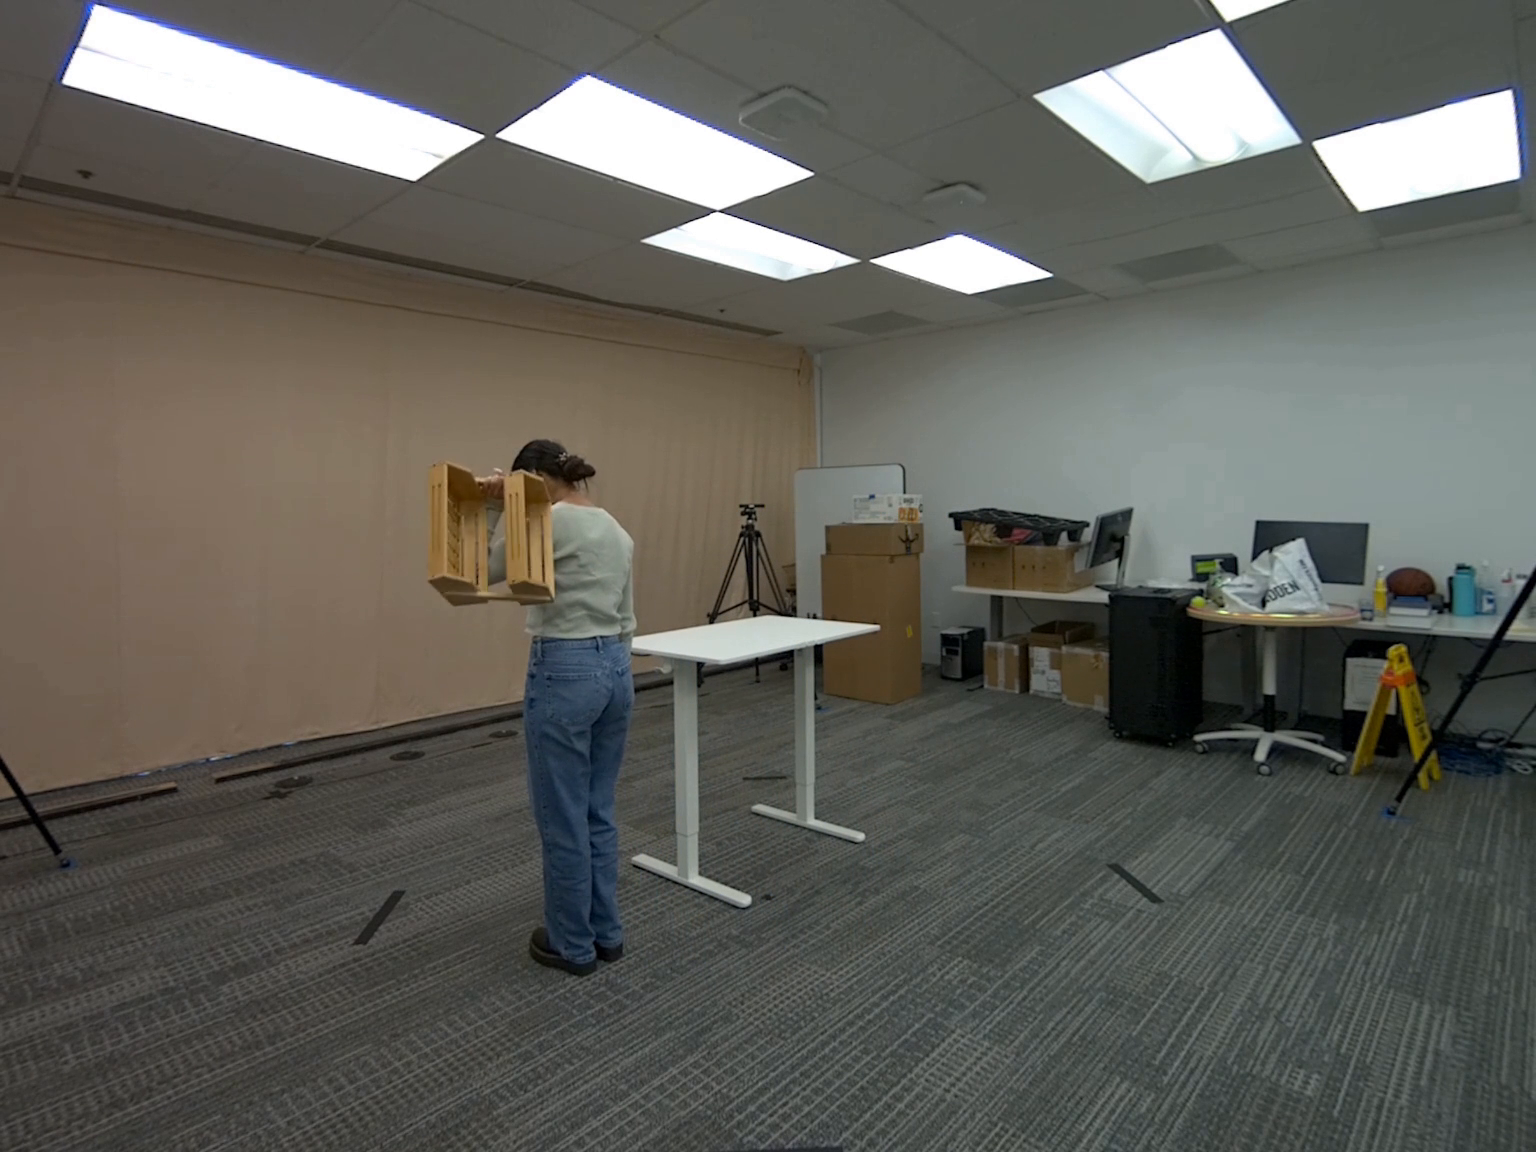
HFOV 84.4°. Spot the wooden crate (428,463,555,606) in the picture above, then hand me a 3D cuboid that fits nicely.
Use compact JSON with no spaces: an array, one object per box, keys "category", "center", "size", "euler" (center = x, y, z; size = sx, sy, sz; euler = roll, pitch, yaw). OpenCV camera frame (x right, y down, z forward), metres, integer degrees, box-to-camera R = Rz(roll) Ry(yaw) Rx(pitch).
[{"category":"wooden crate","center":[-0.698,-0.106,2.168],"size":[0.272,0.329,0.300],"euler":[-5,-18,-6]}]
